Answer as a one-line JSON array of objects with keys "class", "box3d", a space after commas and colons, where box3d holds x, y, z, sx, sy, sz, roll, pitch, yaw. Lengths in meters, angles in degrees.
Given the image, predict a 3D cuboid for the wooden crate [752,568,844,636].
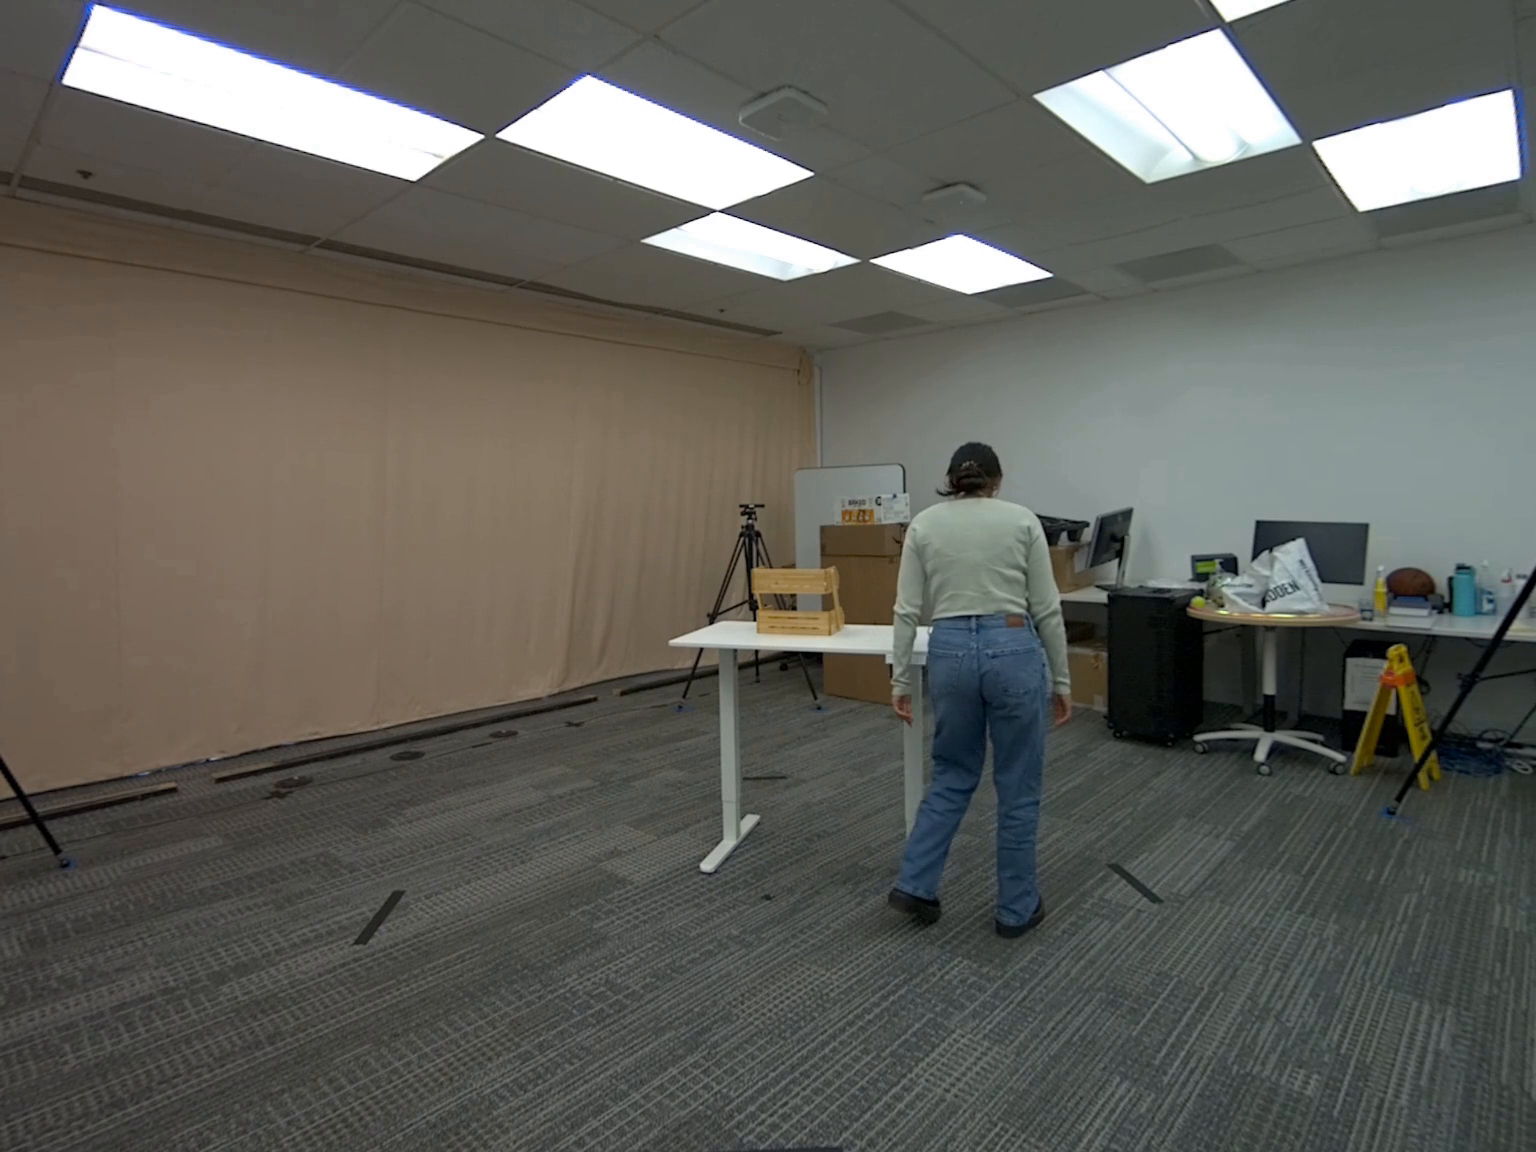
[{"class": "wooden crate", "box3d": [0.126, 0.090, 3.382, 0.331, 0.273, 0.297, 0, 4, 17]}]
